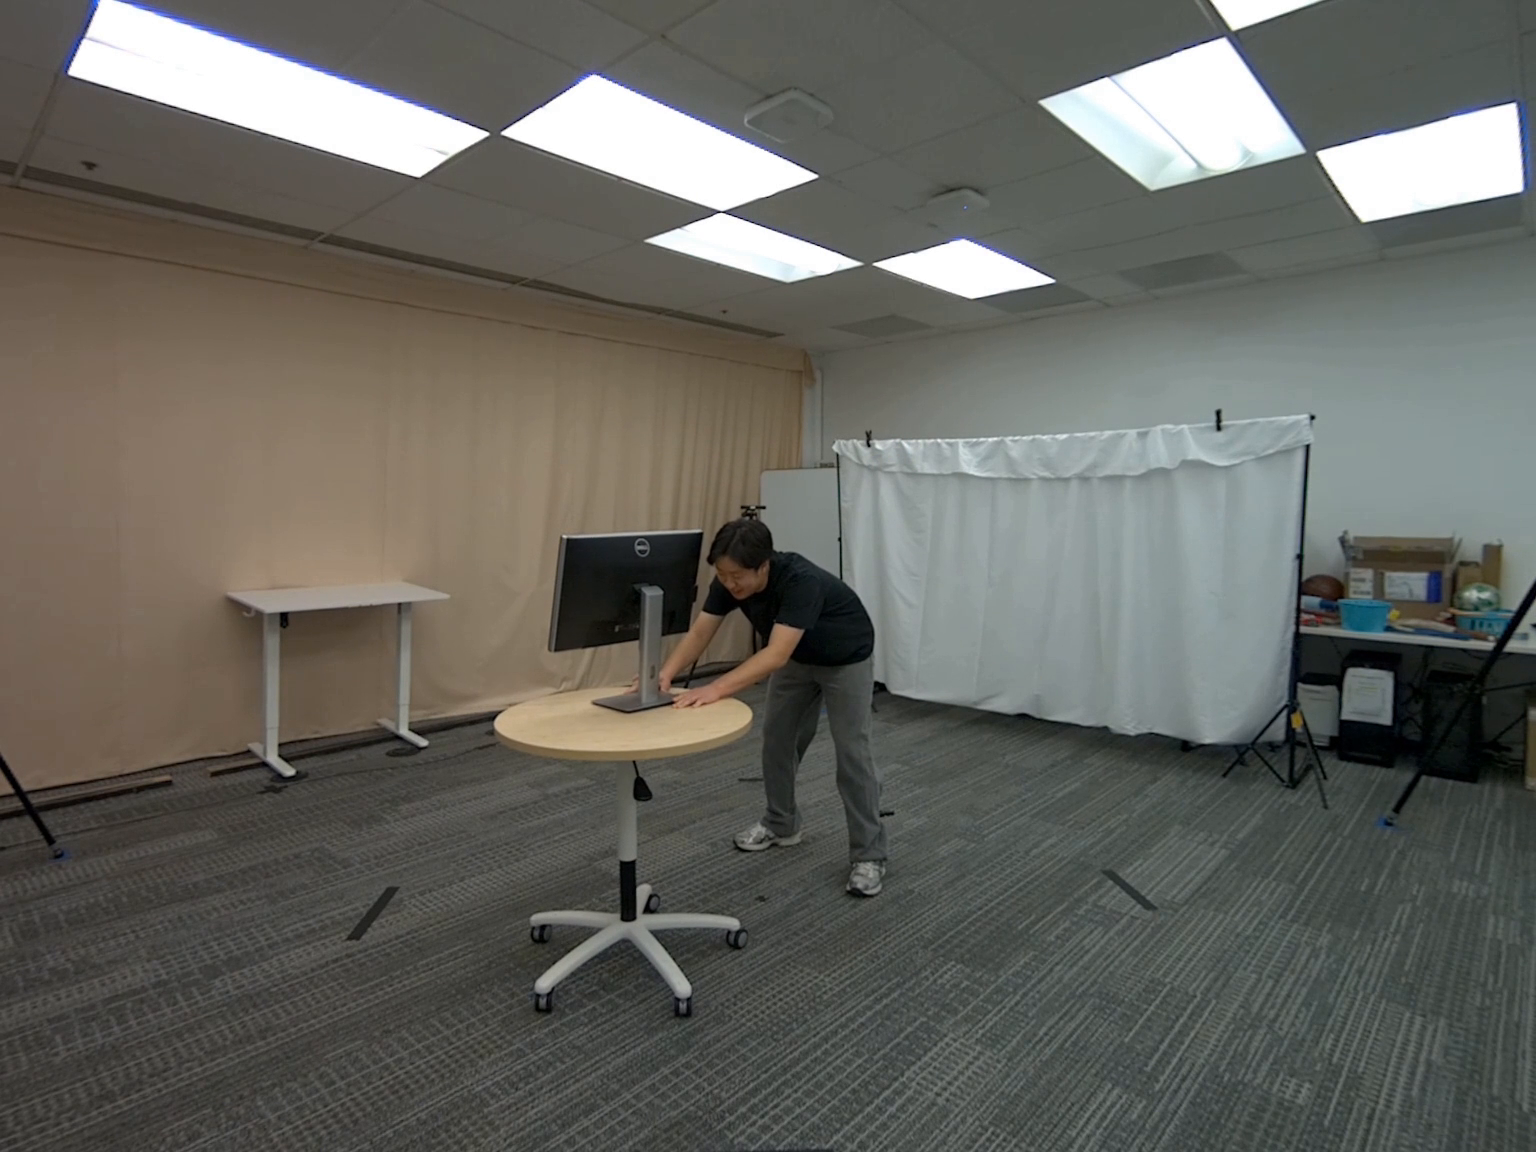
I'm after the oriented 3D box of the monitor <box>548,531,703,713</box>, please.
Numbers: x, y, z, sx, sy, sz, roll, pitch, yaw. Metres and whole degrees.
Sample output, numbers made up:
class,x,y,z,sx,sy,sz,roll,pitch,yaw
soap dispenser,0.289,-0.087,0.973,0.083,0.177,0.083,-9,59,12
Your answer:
class,x,y,z,sx,sy,sz,roll,pitch,yaw
monitor,-0.394,0.139,2.645,0.217,0.551,0.548,11,10,43
